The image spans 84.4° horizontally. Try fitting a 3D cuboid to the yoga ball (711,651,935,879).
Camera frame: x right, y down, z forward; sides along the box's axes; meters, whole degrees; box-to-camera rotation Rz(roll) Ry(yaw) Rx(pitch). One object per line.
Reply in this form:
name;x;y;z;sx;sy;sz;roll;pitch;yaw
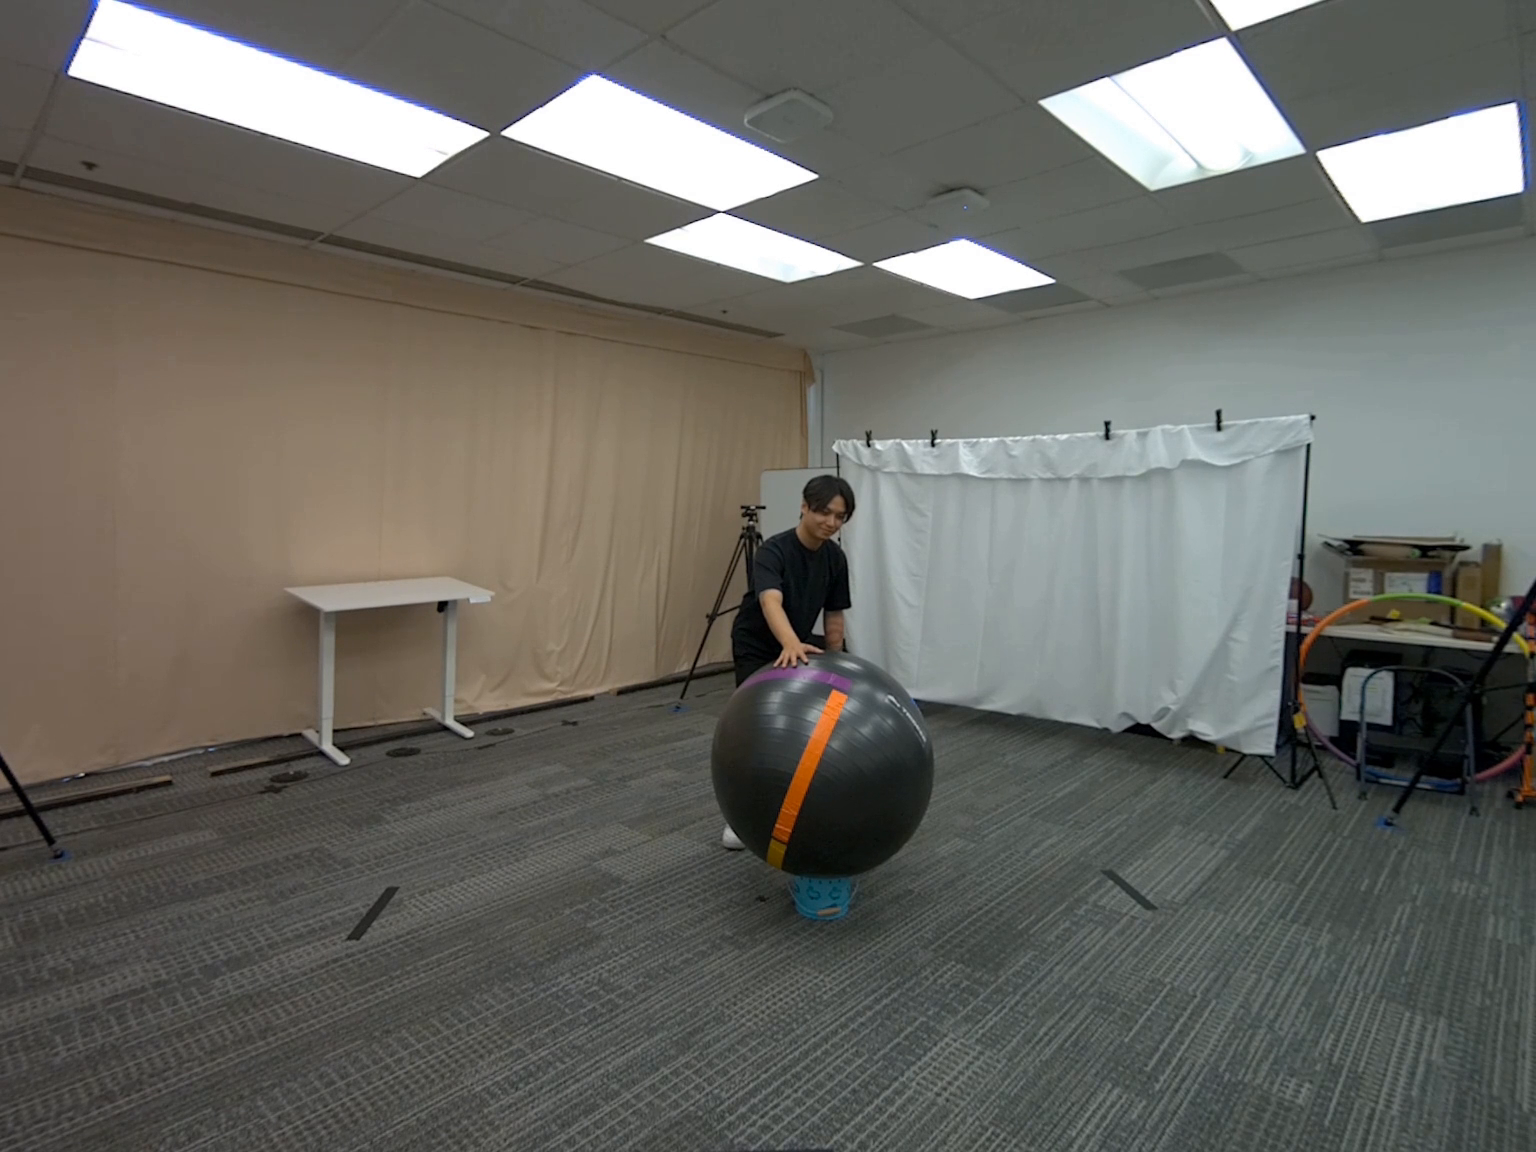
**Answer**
yoga ball;0.188;0.645;2.888;0.757;0.756;0.760;0;4;-2
